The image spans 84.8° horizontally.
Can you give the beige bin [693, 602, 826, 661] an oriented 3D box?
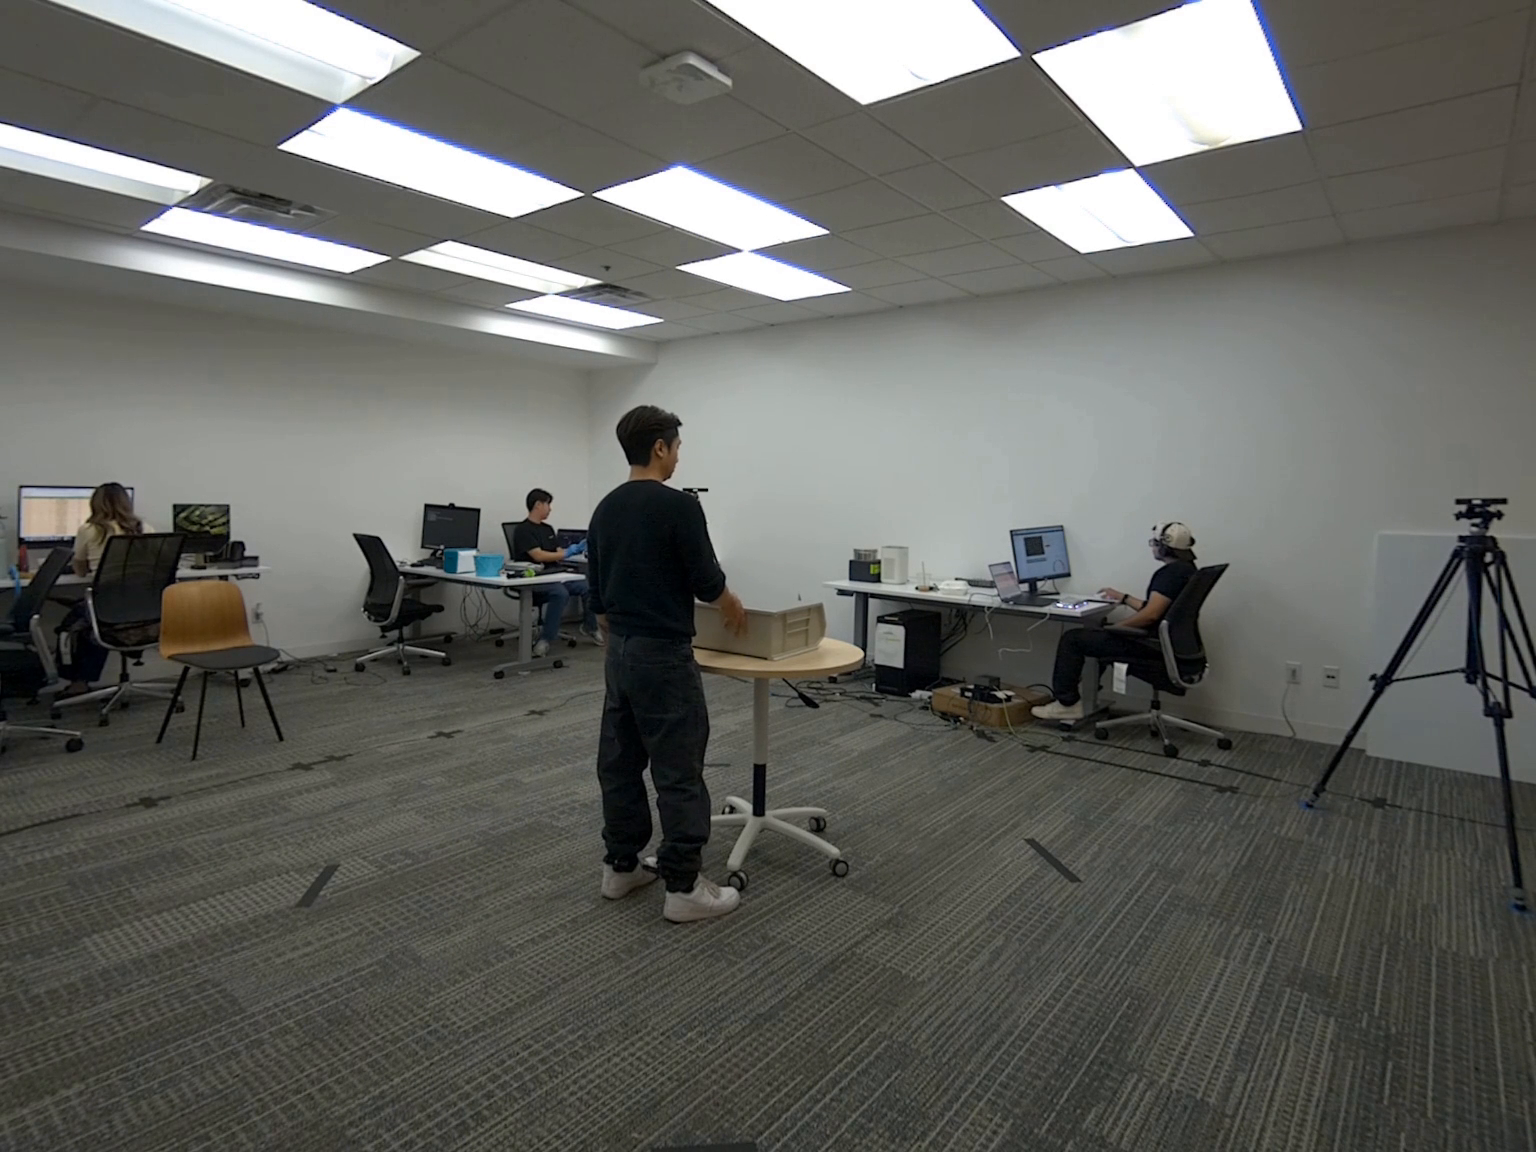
[{"bbox_3d":[-0.061,0.182,3.267,0.436,0.188,0.367,5,7,34],"label":"beige bin"}]
